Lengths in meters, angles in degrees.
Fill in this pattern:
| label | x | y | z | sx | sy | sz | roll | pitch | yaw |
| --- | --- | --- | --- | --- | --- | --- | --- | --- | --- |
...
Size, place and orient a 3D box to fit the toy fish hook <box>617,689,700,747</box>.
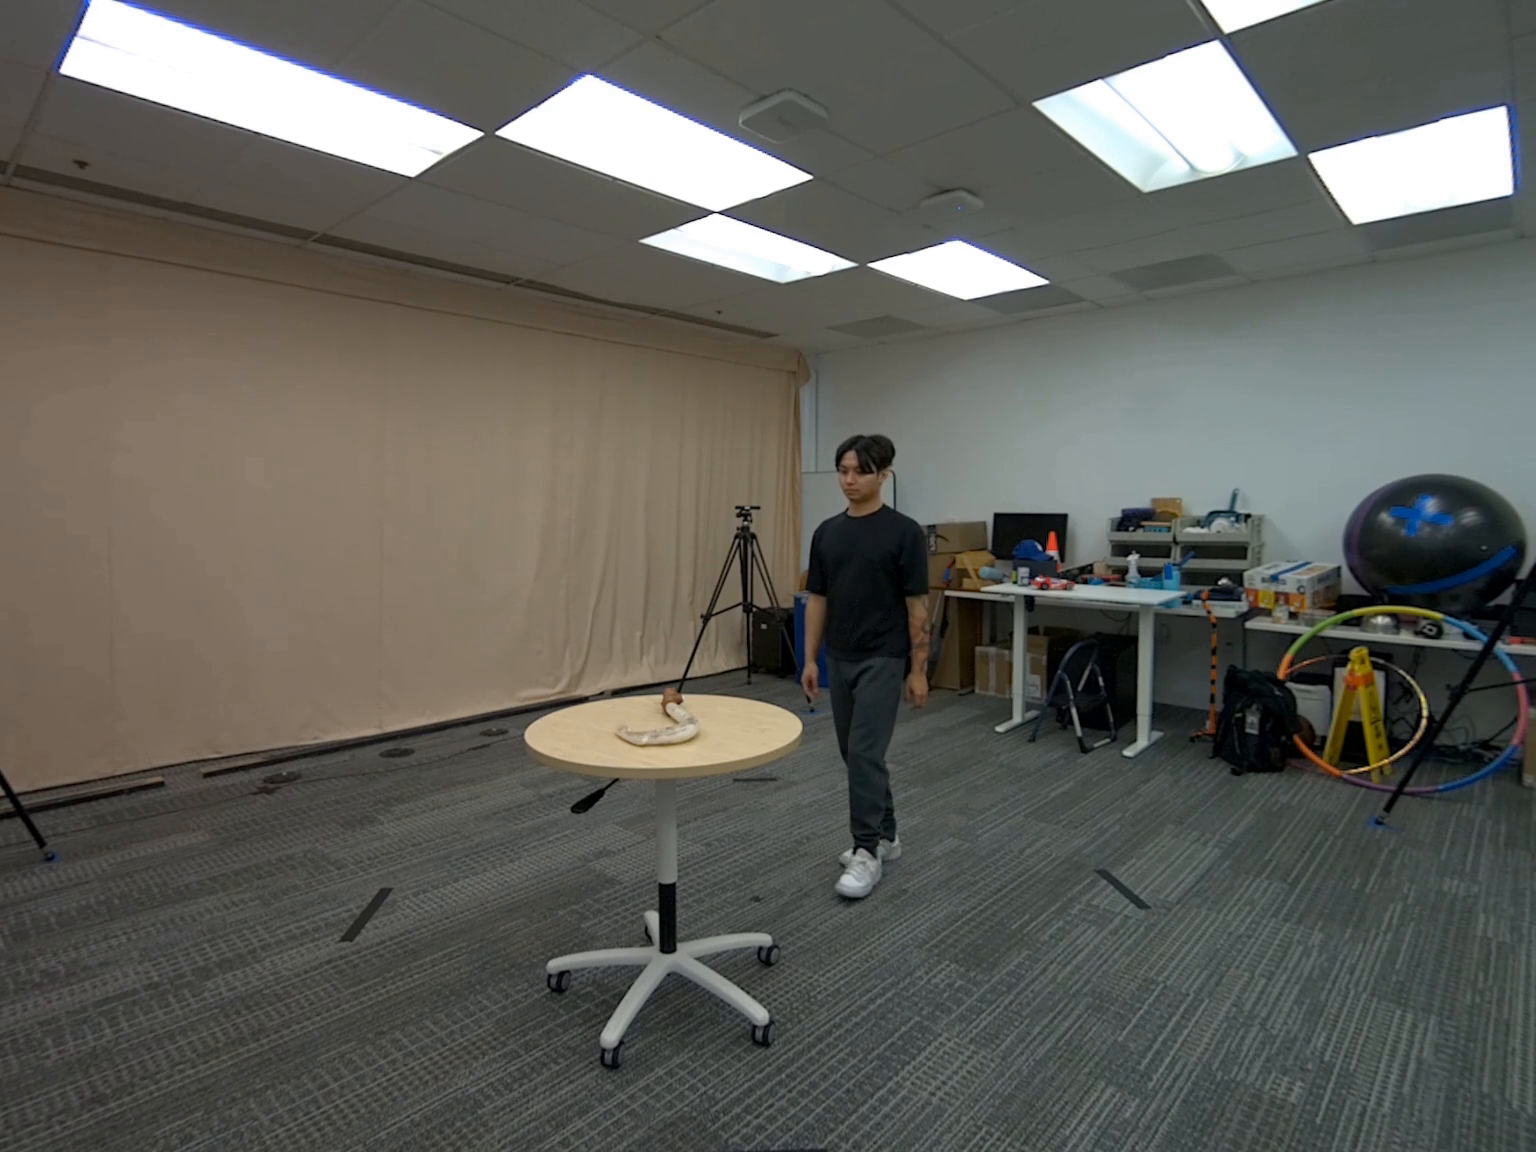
| label | x | y | z | sx | sy | sz | roll | pitch | yaw |
| --- | --- | --- | --- | --- | --- | --- | --- | --- | --- |
| toy fish hook | -0.324 | 0.389 | 2.379 | 0.223 | 0.048 | 0.511 | 1 | 6 | -7 |
